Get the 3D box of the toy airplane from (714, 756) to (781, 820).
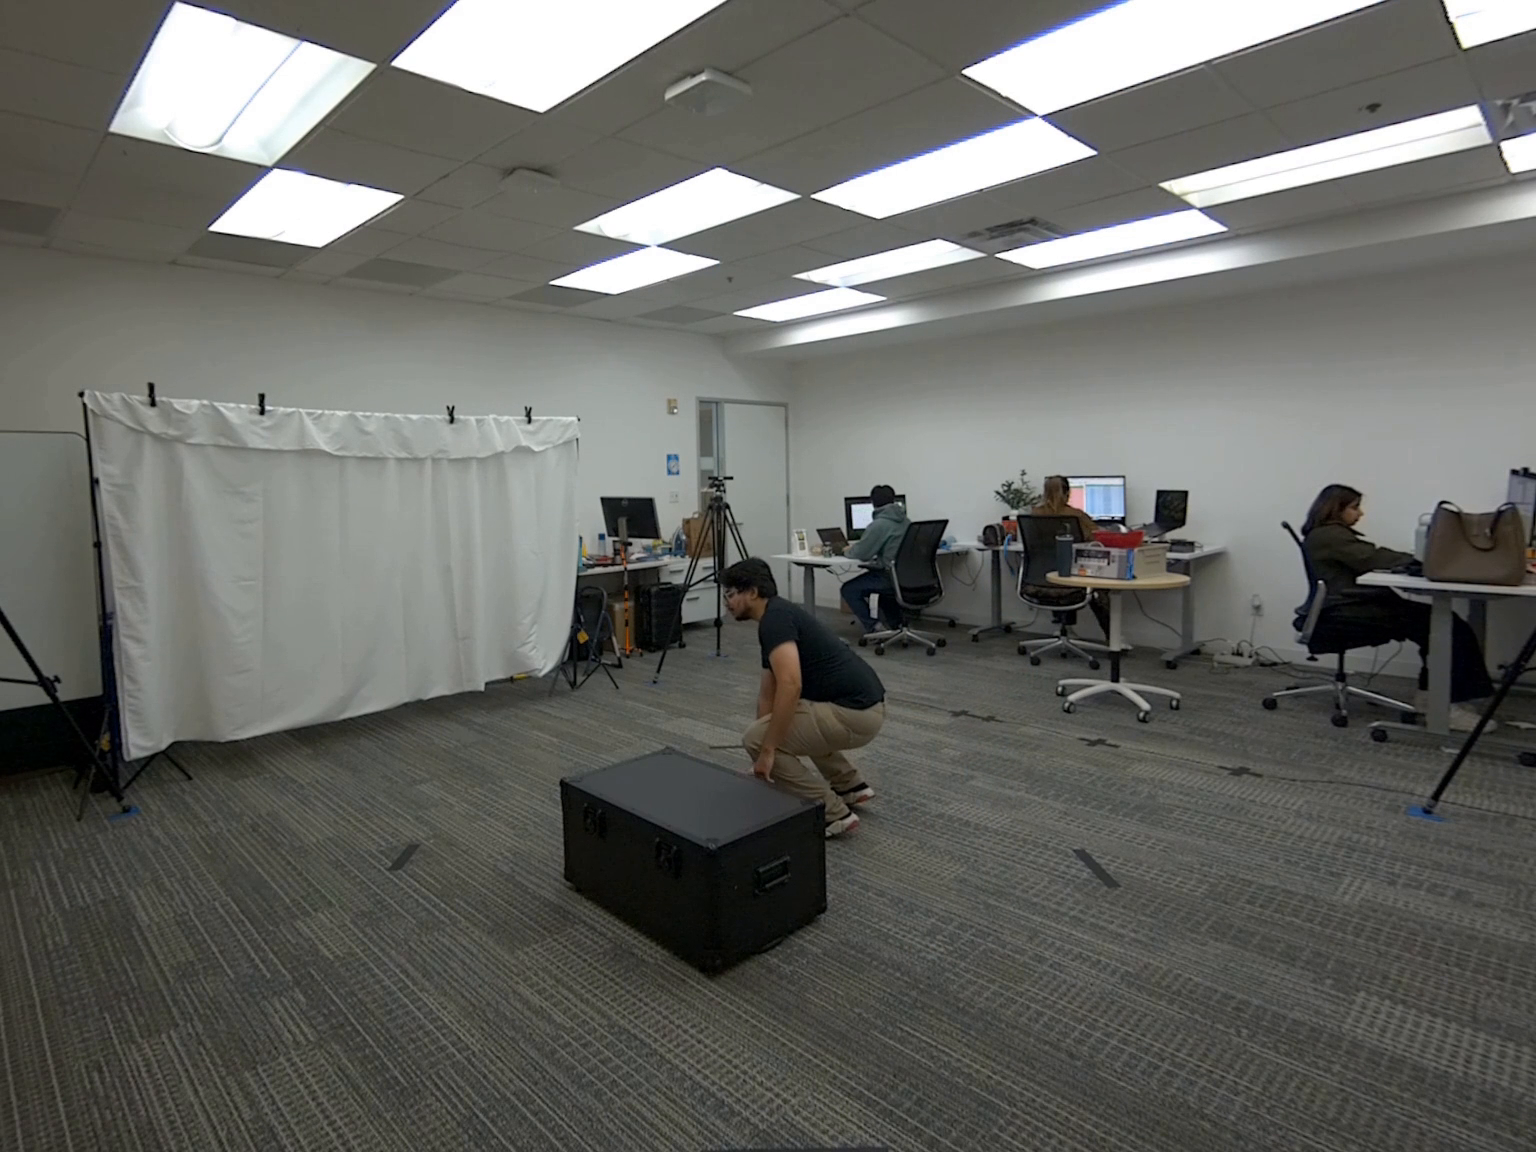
[{"bbox_3d":[-0.083,0.874,3.558,0.252,0.155,0.260,-1,10,4],"label":"toy airplane"}]
